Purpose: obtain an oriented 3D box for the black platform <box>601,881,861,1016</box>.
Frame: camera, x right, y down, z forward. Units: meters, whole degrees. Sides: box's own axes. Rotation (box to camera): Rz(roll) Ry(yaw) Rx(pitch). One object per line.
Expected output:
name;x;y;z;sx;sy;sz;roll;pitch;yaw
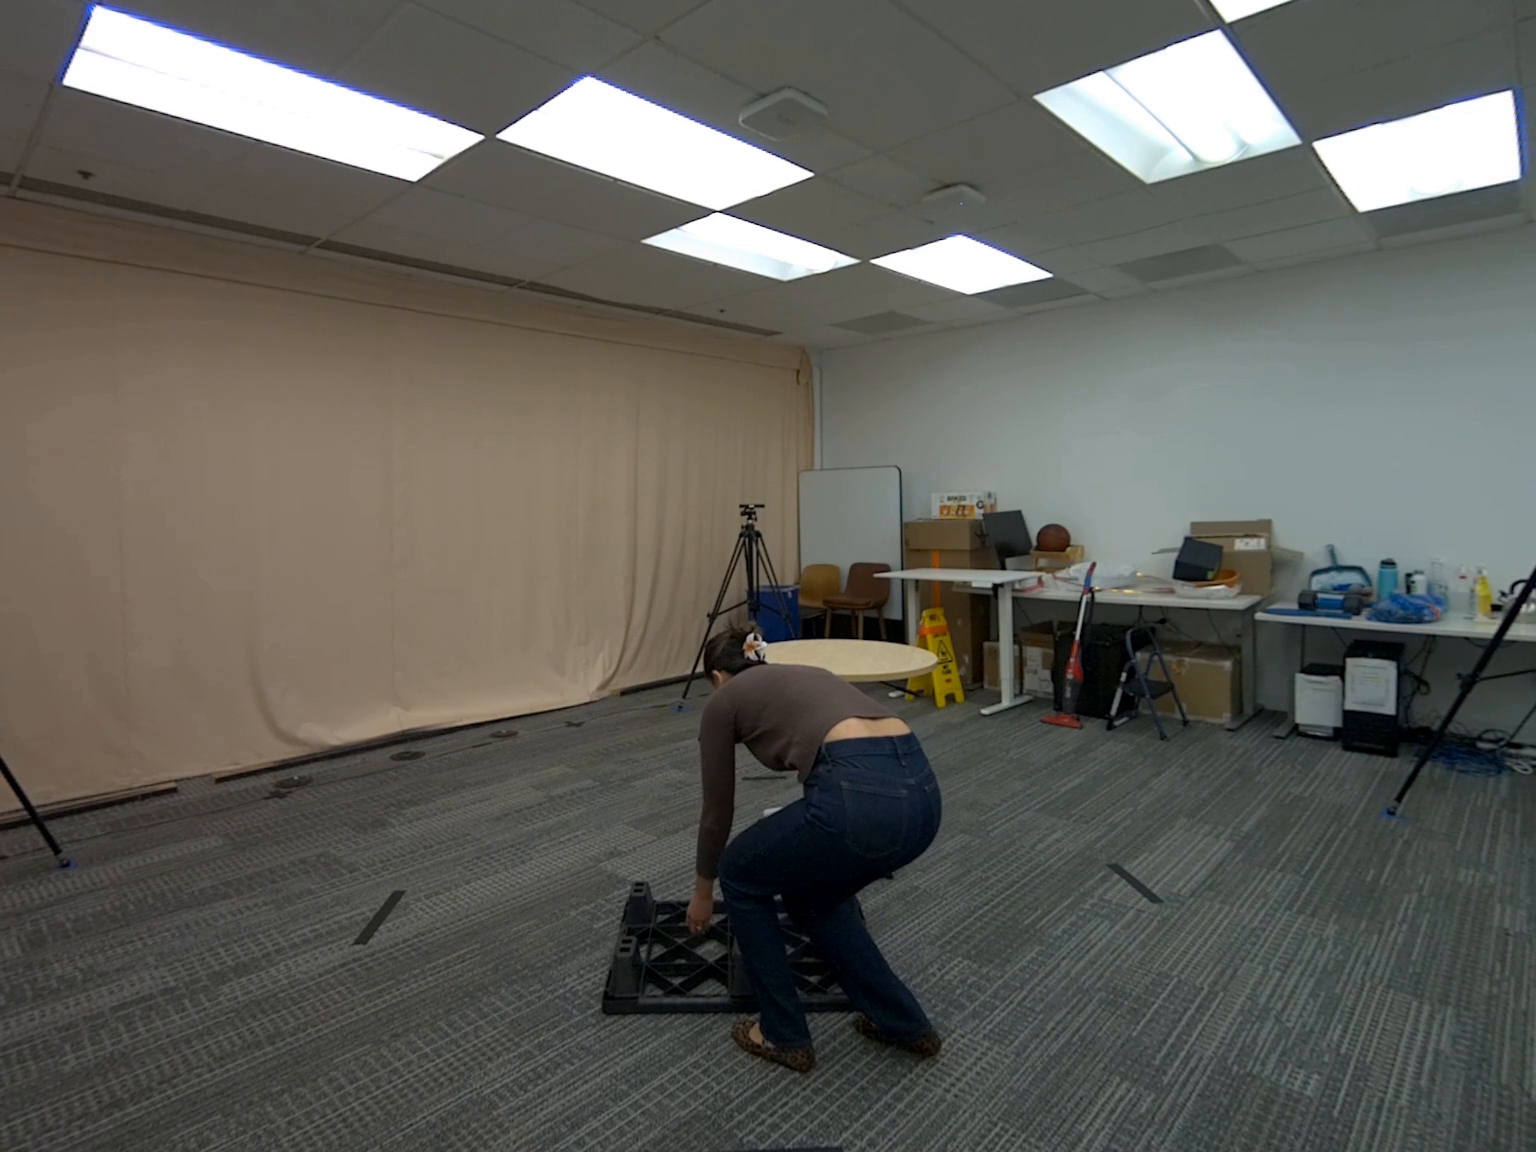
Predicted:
black platform;-0.080;1.108;2.595;0.805;0.143;0.607;-1;5;-1
